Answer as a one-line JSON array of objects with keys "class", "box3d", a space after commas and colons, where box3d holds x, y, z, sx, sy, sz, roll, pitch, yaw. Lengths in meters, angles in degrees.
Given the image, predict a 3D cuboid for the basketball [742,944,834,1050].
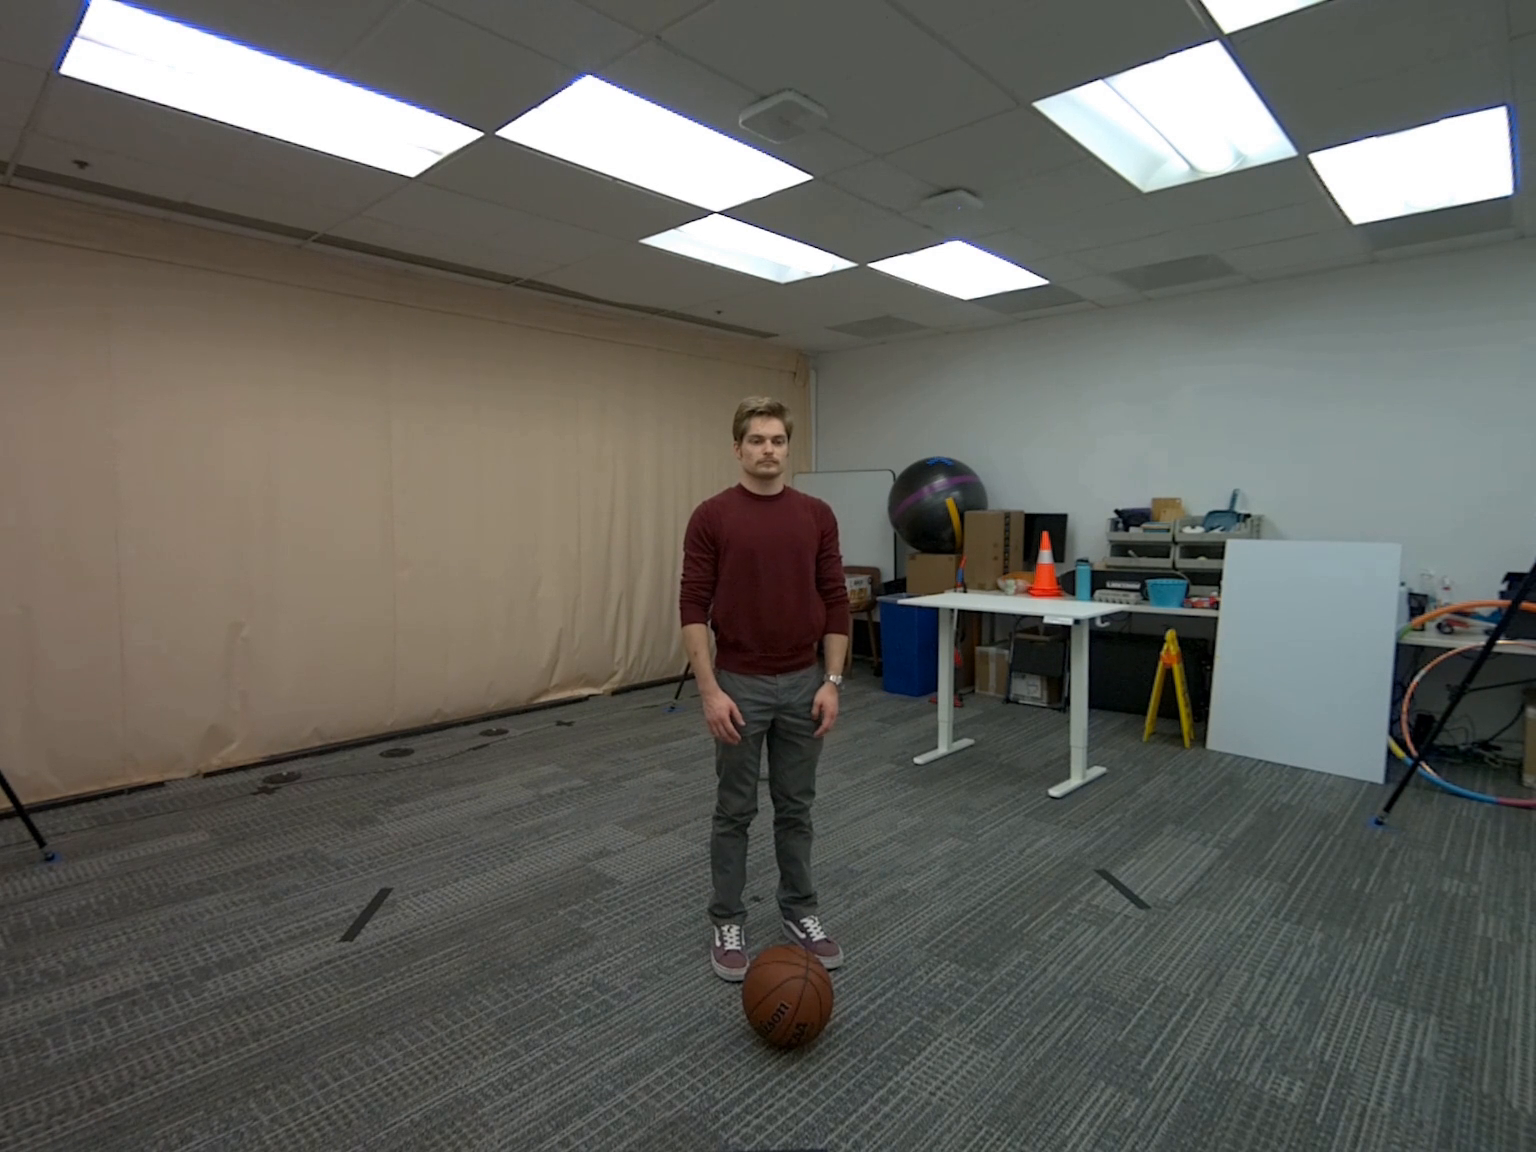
[{"class": "basketball", "box3d": [0.047, 1.081, 2.201, 0.236, 0.235, 0.237, 0, 4, -2]}]
